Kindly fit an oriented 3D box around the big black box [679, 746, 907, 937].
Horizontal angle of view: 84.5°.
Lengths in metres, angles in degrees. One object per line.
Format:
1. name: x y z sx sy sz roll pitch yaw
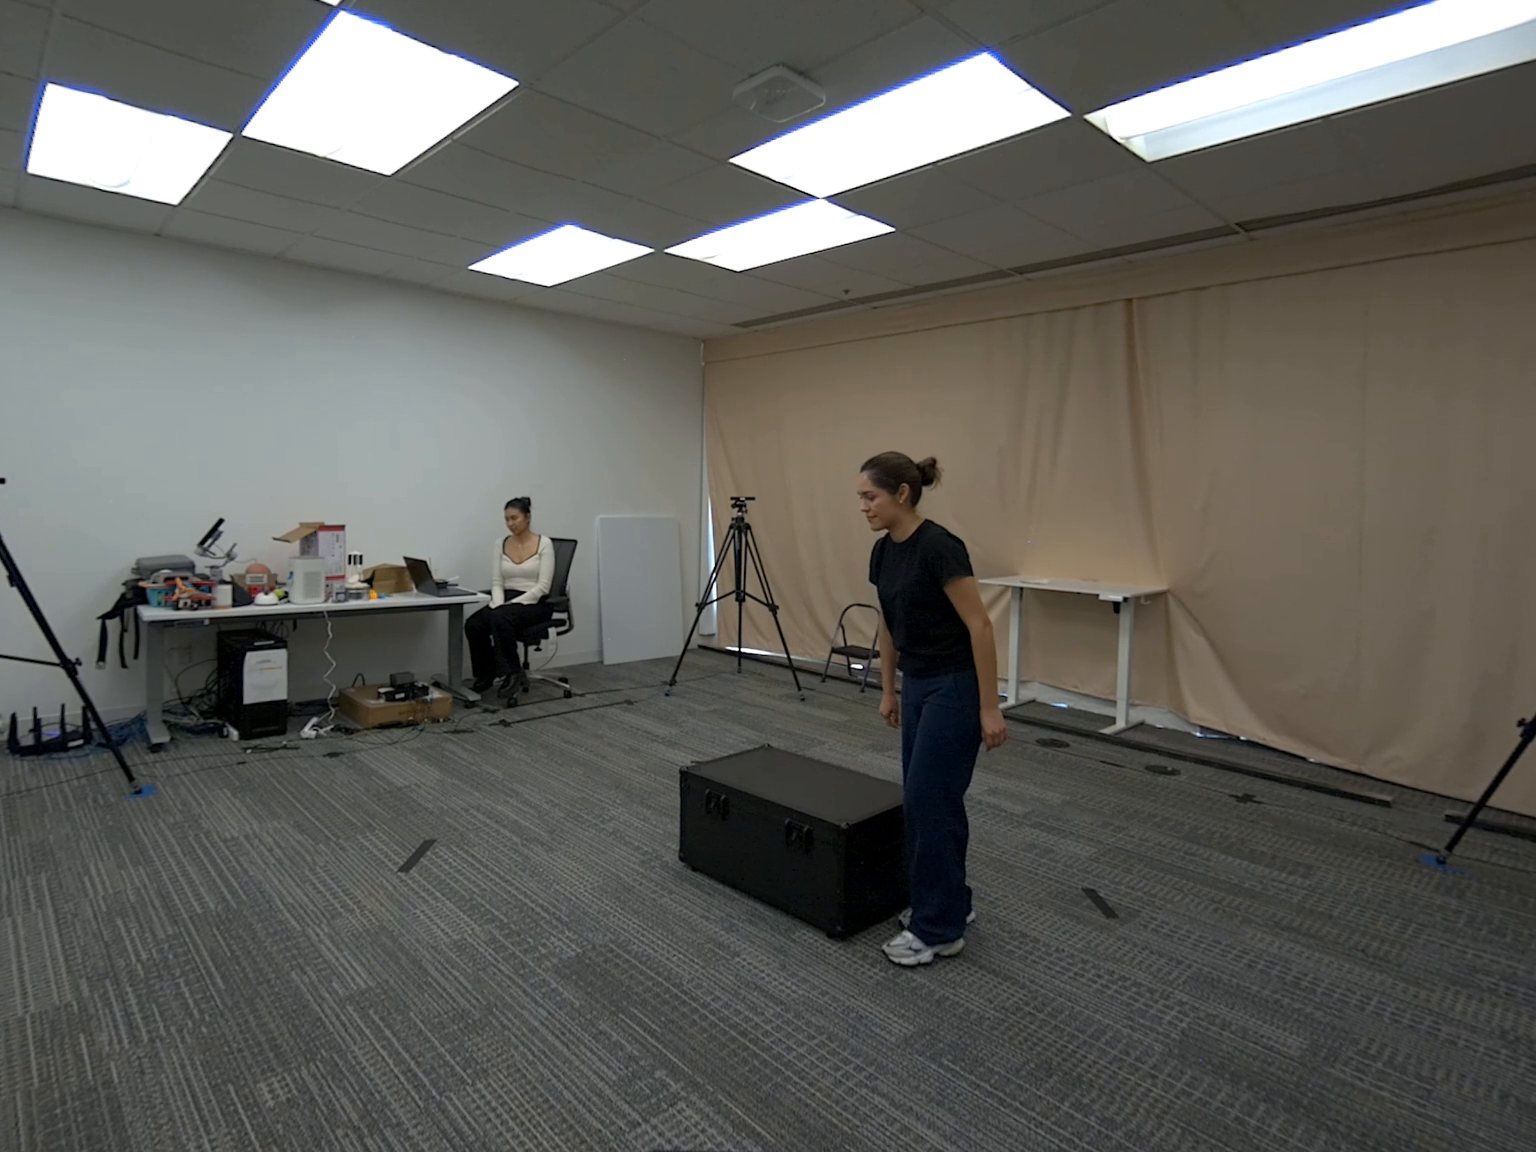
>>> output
1. big black box: 0.087 0.925 3.077 0.884 0.395 0.509 7 7 43
